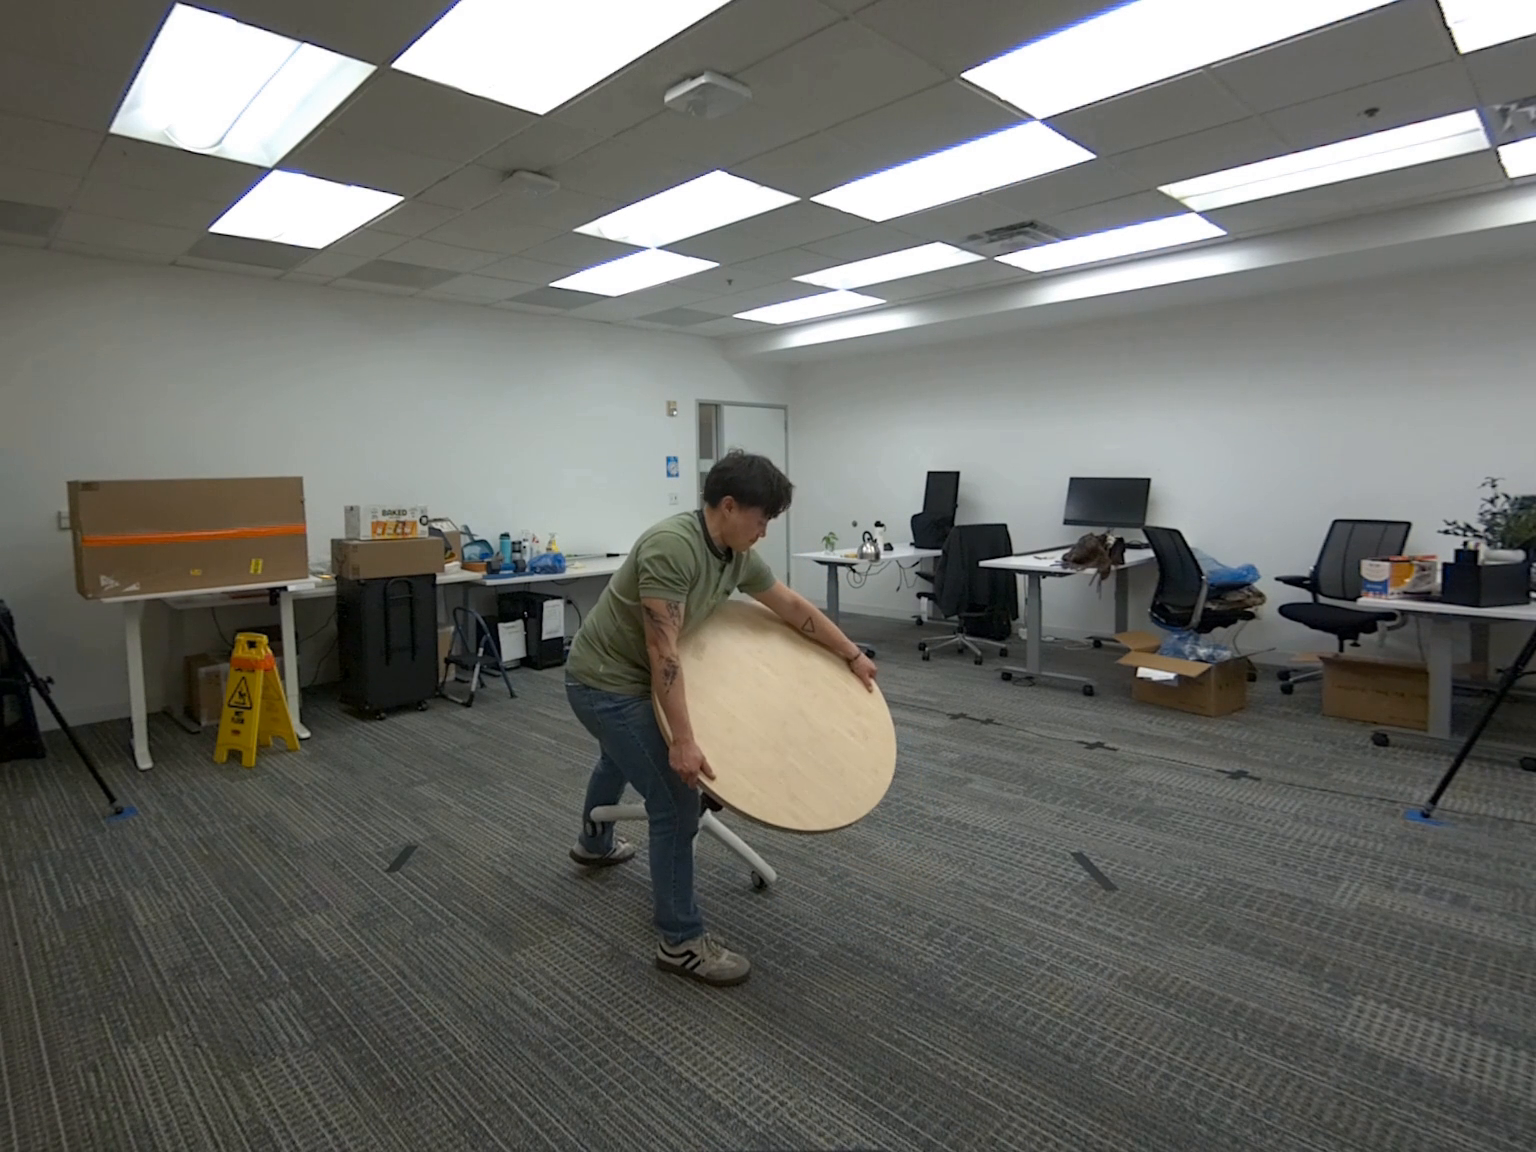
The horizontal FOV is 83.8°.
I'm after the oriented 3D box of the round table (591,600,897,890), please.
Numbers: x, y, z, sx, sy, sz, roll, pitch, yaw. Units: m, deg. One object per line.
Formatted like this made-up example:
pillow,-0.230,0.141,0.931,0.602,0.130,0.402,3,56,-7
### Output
round table,-0.124,0.618,2.732,0.750,0.787,0.785,17,41,-17
